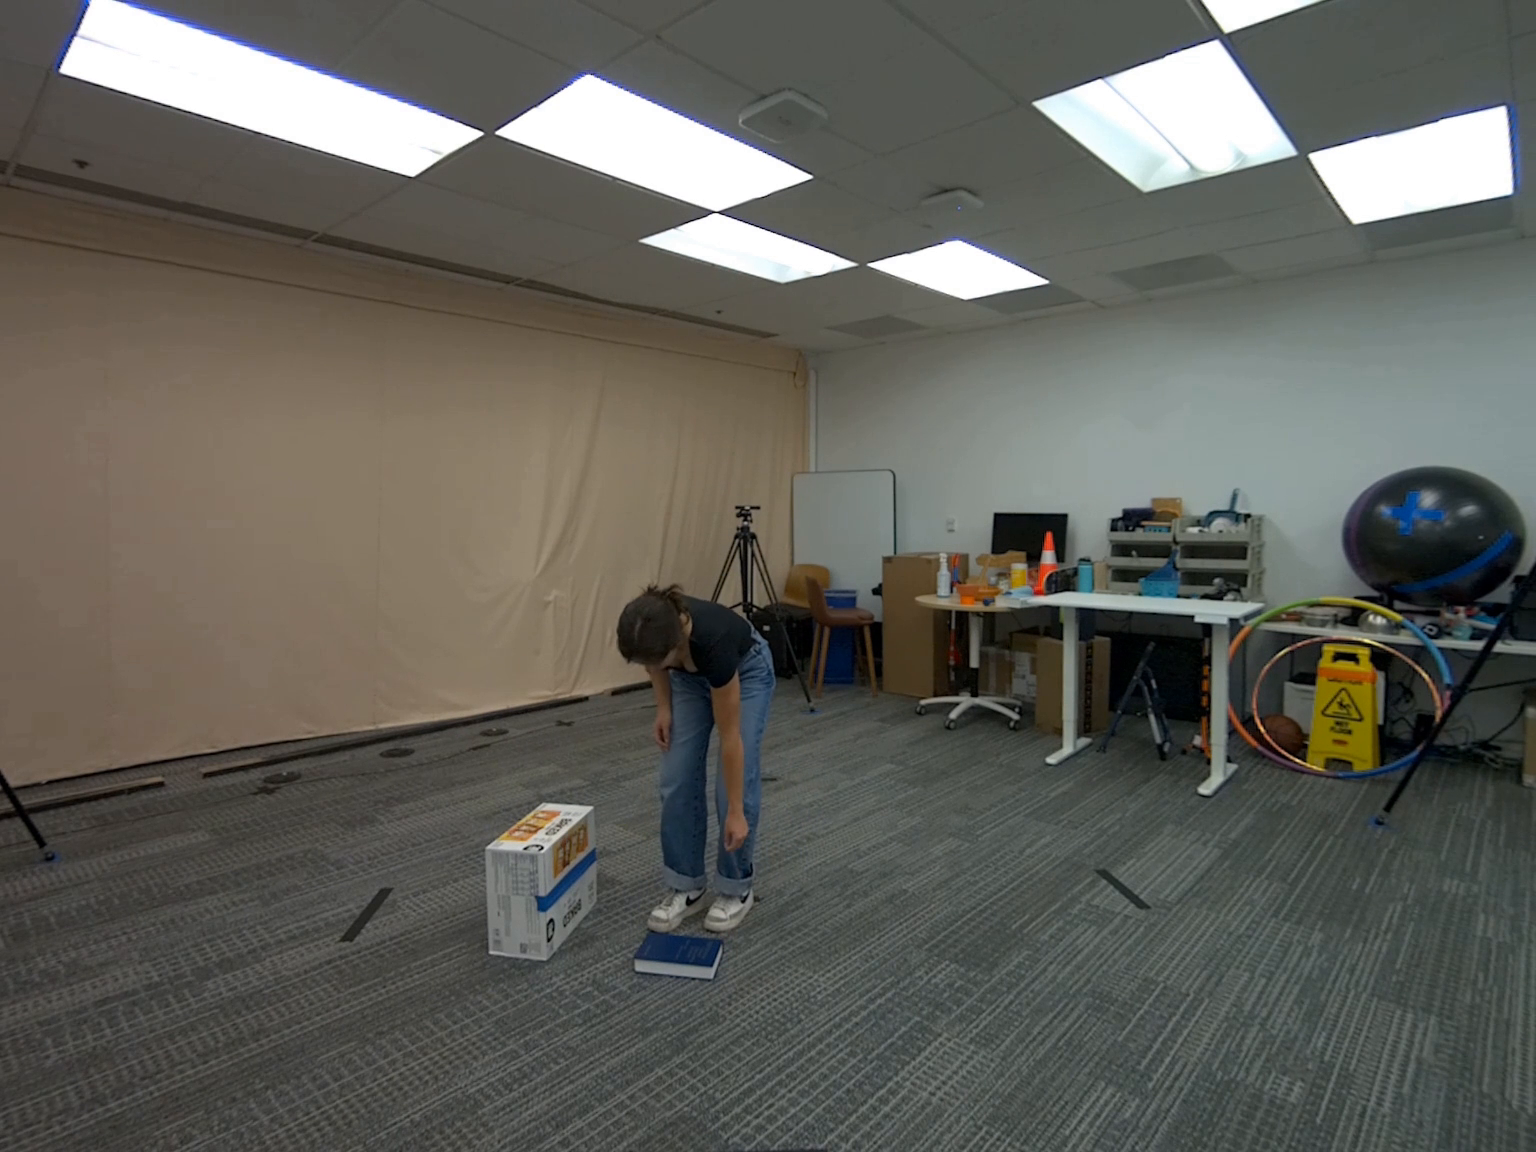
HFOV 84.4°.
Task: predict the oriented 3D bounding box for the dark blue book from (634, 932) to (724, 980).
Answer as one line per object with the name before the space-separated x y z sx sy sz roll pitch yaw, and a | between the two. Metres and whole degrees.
dark blue book | -0.268 1.149 2.566 0.248 0.045 0.162 1 6 11
